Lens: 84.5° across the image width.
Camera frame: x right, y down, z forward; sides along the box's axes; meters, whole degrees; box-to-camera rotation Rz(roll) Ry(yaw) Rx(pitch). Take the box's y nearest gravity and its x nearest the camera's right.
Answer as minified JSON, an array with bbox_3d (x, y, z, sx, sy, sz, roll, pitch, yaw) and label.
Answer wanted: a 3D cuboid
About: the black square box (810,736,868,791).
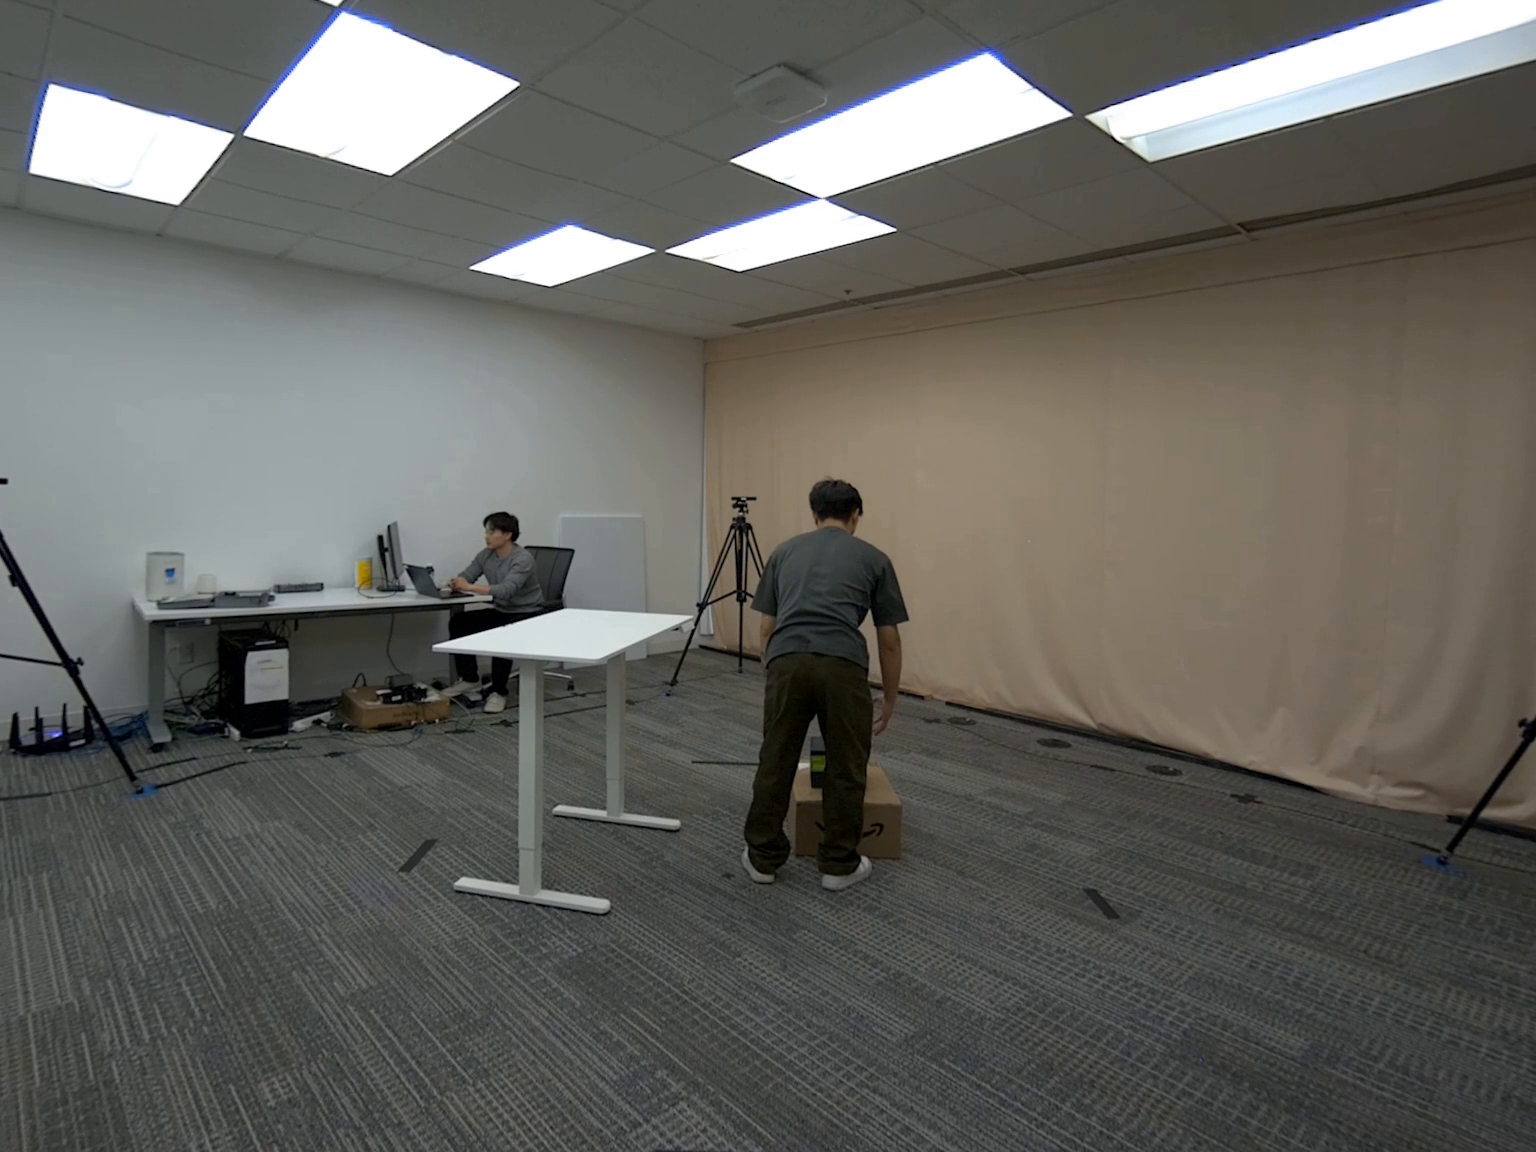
[{"bbox_3d":[0.292,0.777,3.538,0.229,0.155,0.217,1,4,4],"label":"black square box"}]
